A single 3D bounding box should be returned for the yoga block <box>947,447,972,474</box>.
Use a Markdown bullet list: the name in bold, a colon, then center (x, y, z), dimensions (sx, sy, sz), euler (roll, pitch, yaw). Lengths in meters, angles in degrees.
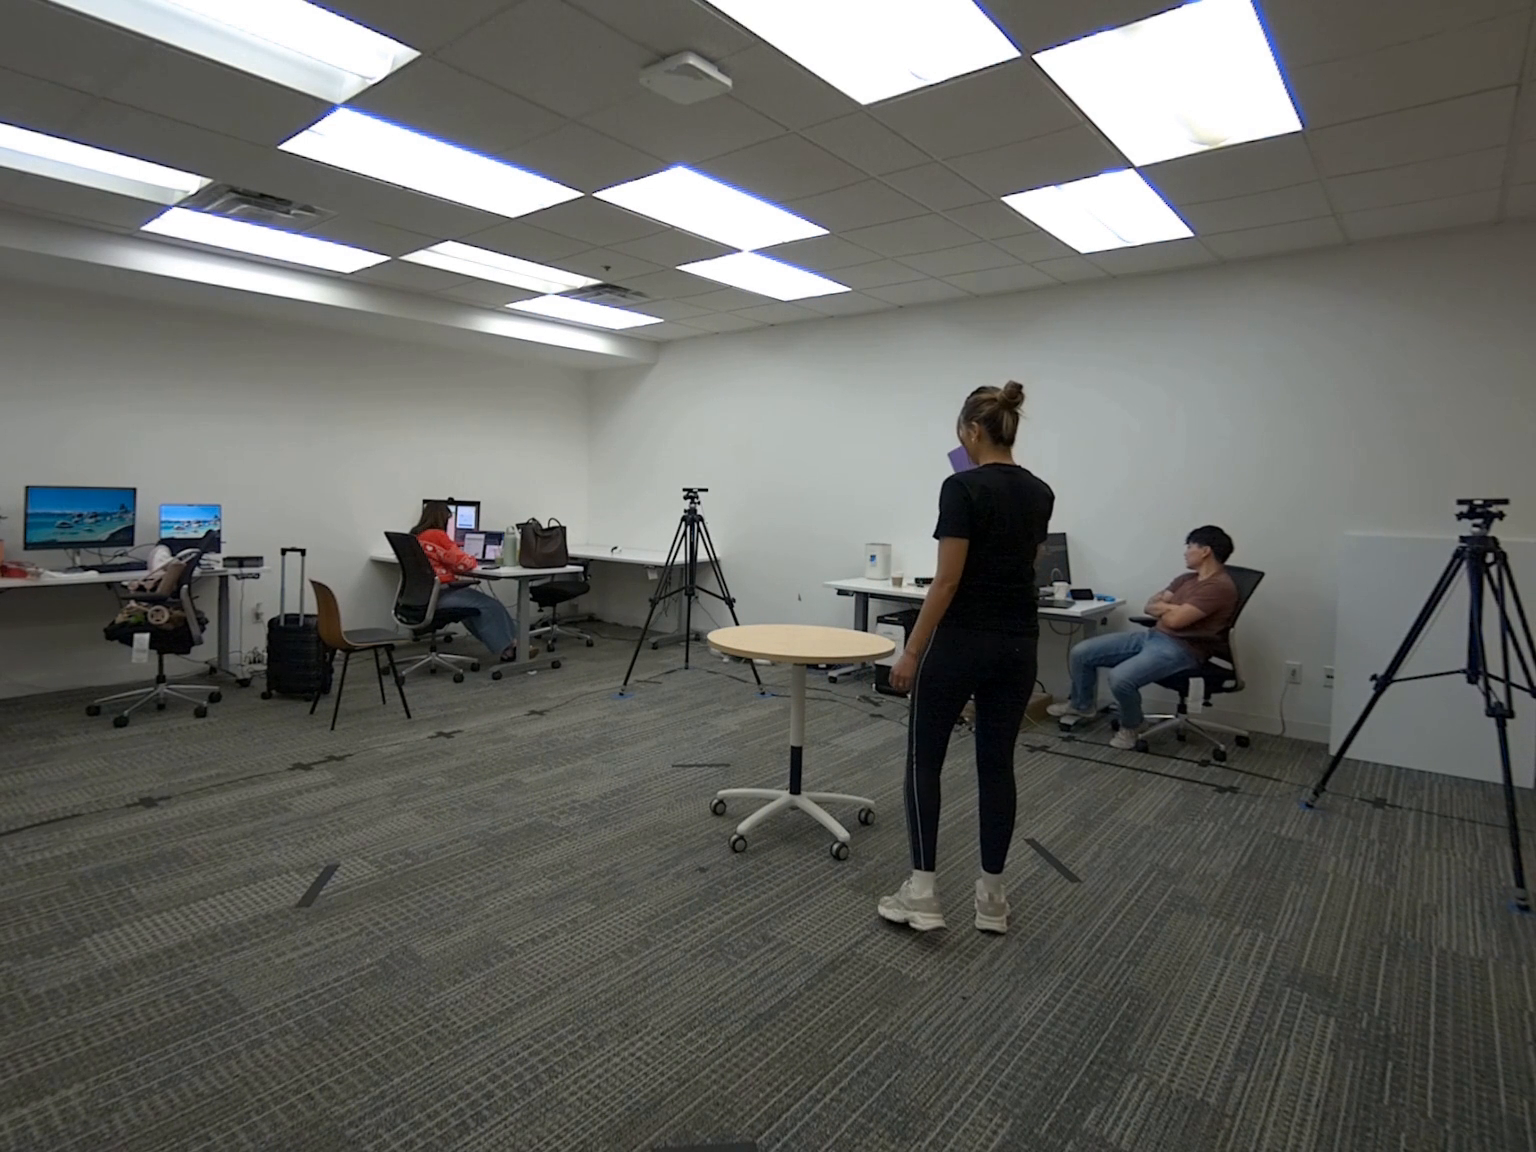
- **yoga block**: center (0.795, -0.403, 3.231), dimensions (0.151, 0.236, 0.073), euler (-28, -28, 26)
